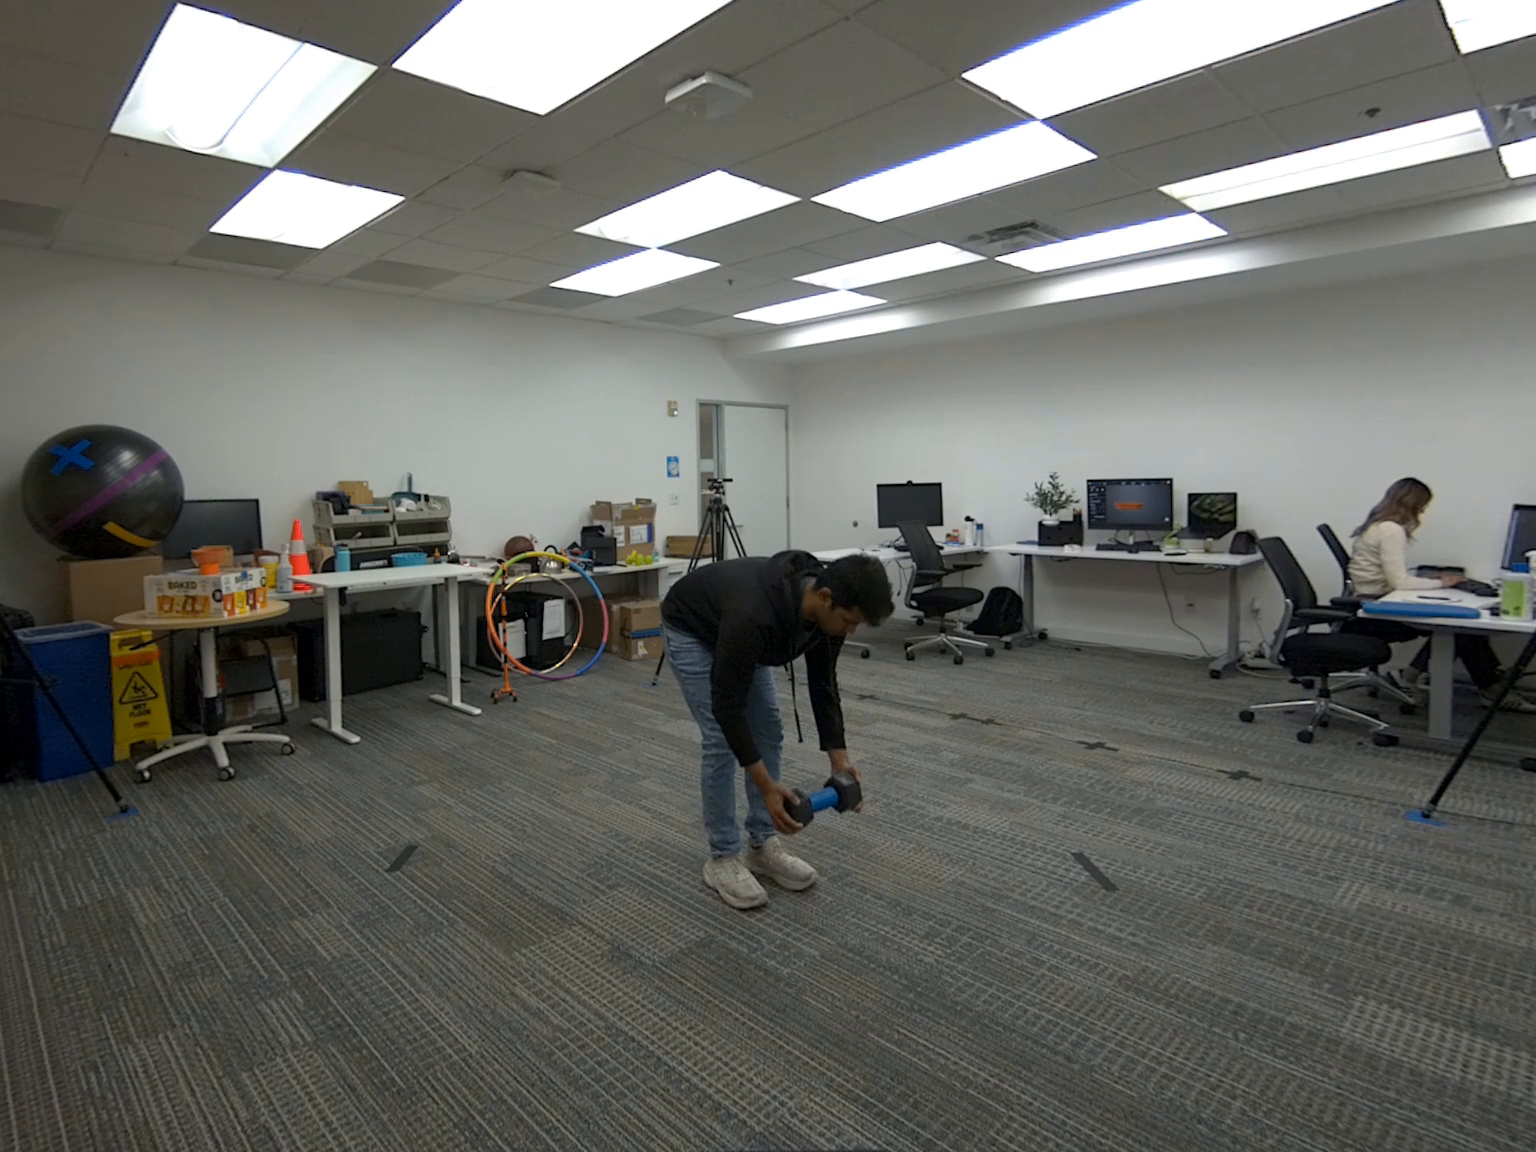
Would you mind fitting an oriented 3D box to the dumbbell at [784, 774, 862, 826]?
[{"bbox_3d":[0.165,0.707,2.715,0.286,0.107,0.128,-7,23,-35],"label":"dumbbell"}]
